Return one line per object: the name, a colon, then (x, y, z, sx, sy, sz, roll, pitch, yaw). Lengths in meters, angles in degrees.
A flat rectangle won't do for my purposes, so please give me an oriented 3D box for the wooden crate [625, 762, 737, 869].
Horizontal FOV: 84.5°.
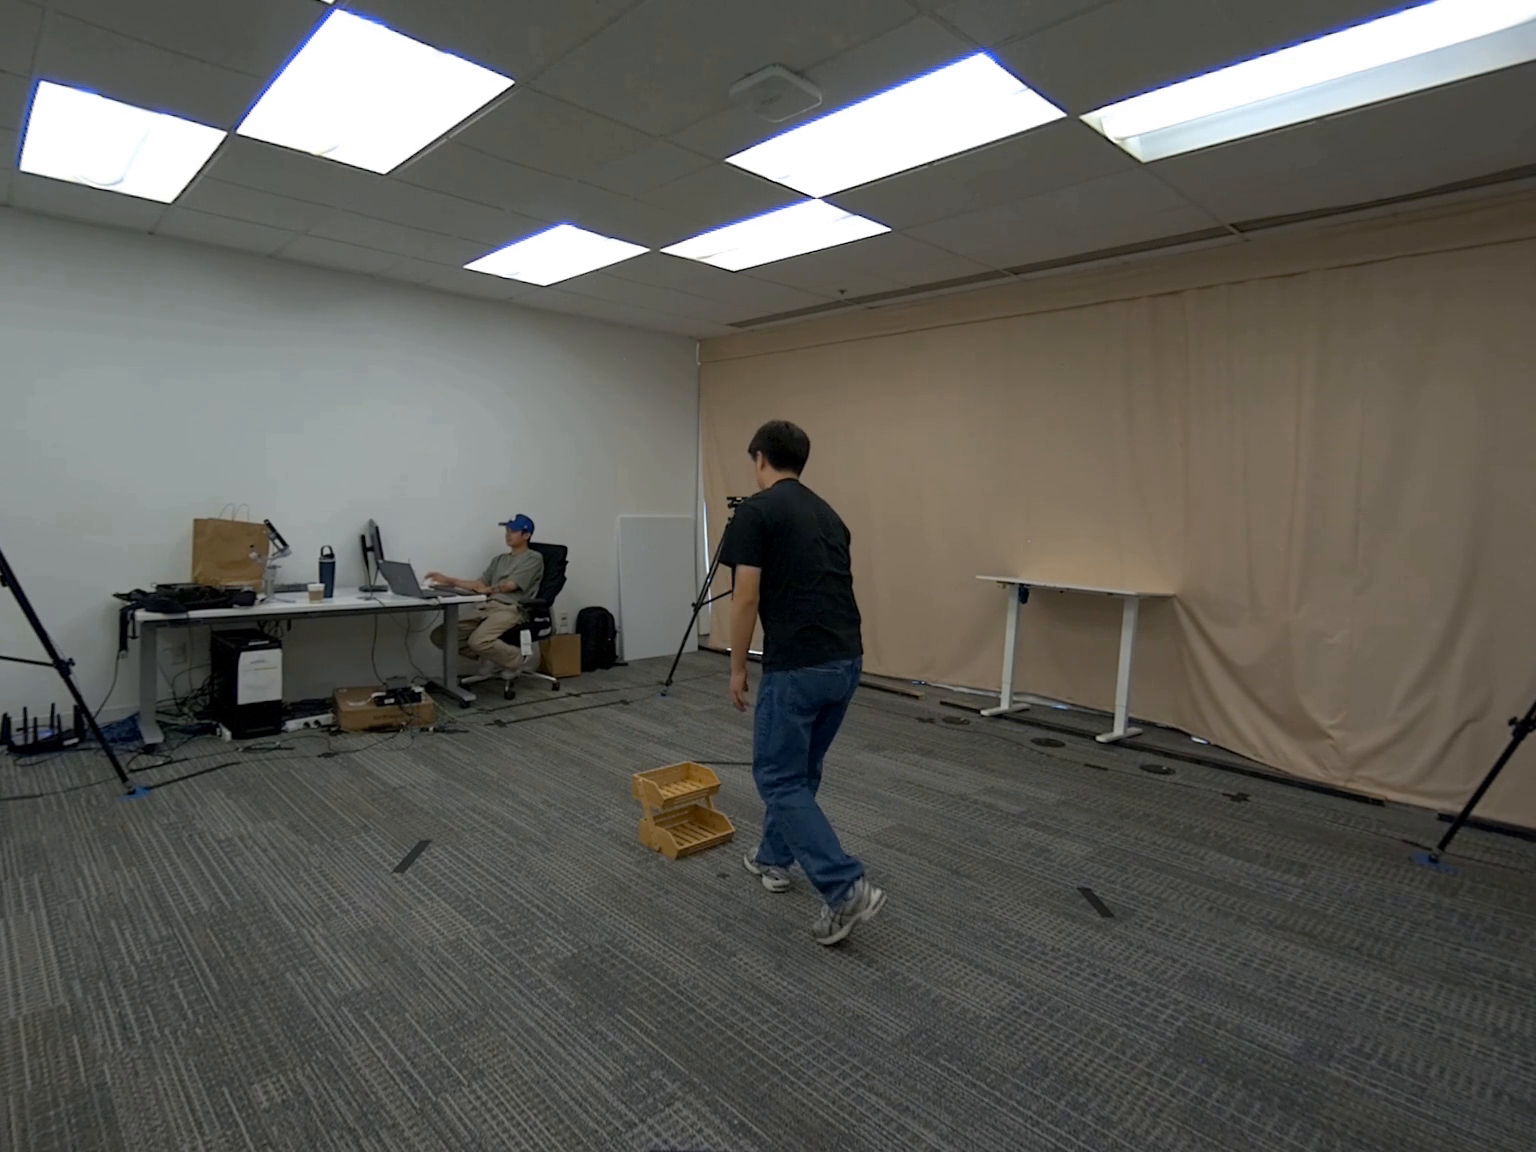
wooden crate: (-0.352, 0.952, 3.420, 0.317, 0.273, 0.310, -2, 4, -44)
